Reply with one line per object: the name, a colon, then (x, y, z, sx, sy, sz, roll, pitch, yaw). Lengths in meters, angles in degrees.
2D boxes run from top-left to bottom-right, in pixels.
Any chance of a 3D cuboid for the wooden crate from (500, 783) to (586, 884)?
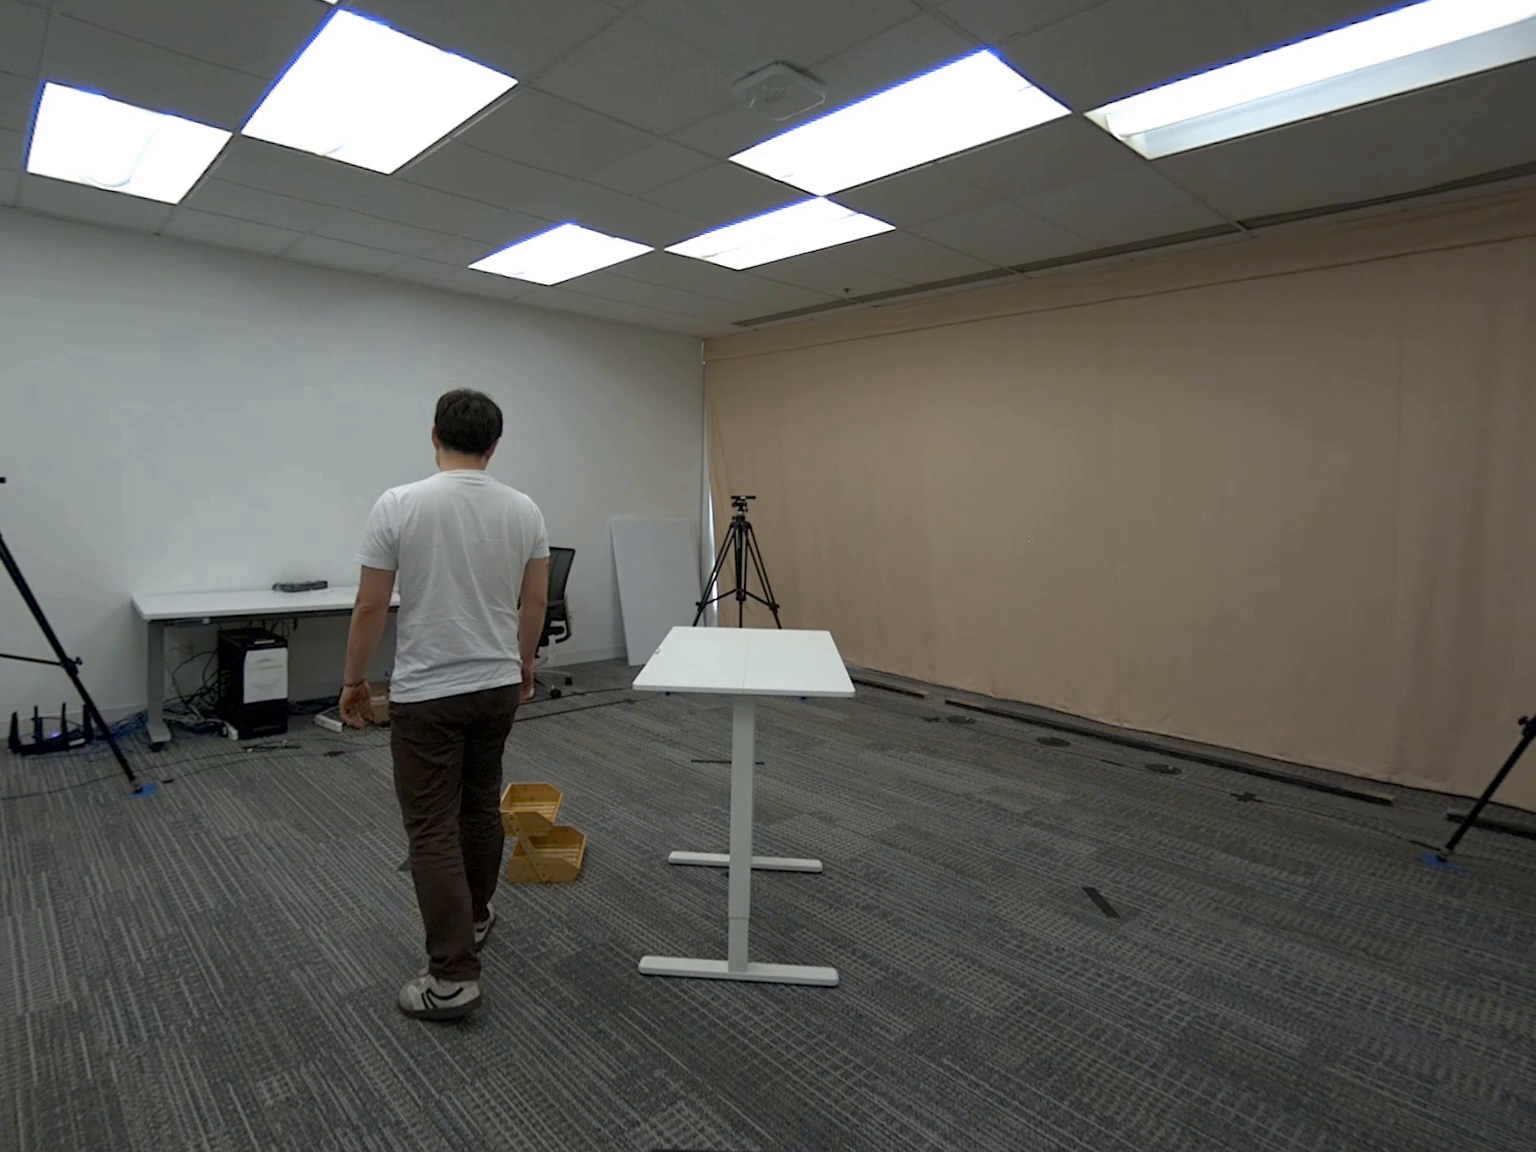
wooden crate: (-0.843, 0.945, 3.146, 0.300, 0.272, 0.327, 1, 4, -6)
